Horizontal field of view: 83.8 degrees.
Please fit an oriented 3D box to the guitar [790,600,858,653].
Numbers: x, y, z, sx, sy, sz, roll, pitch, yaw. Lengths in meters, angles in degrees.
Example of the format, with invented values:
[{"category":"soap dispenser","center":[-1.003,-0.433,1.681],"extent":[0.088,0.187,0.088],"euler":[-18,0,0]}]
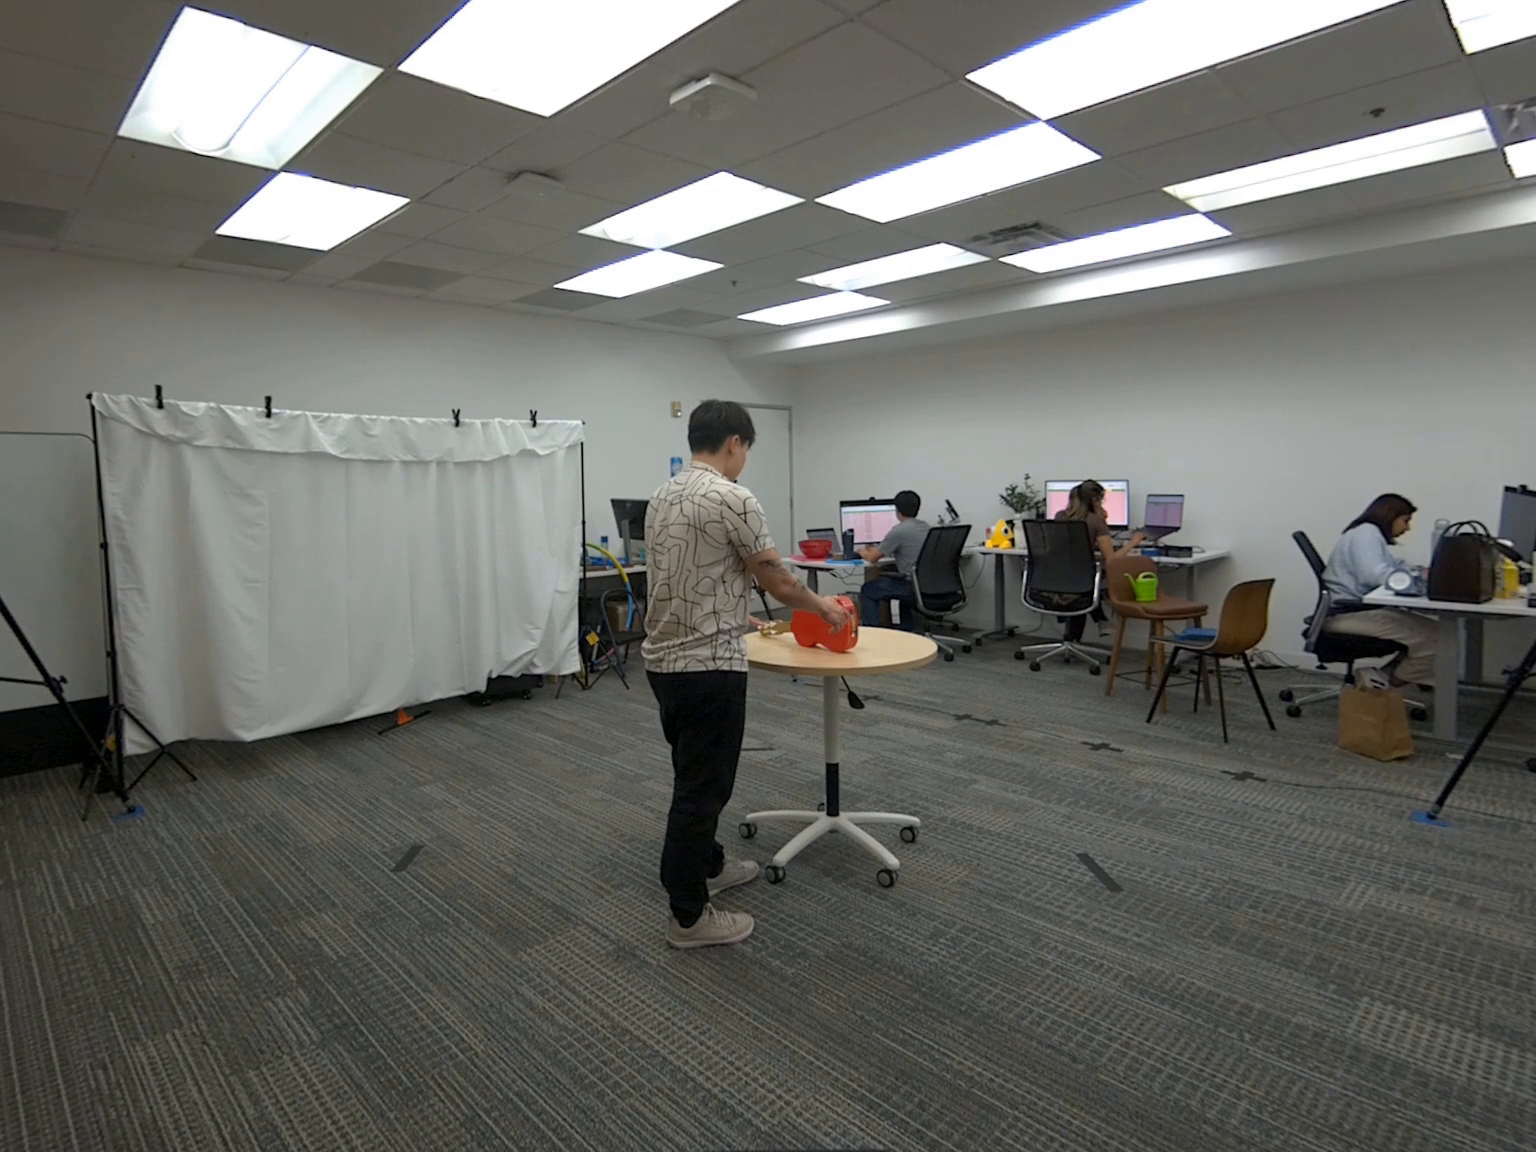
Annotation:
[{"category":"guitar","center":[0.132,0.214,3.154],"extent":[0.069,0.195,0.506],"euler":[-5,-11,-43]}]
